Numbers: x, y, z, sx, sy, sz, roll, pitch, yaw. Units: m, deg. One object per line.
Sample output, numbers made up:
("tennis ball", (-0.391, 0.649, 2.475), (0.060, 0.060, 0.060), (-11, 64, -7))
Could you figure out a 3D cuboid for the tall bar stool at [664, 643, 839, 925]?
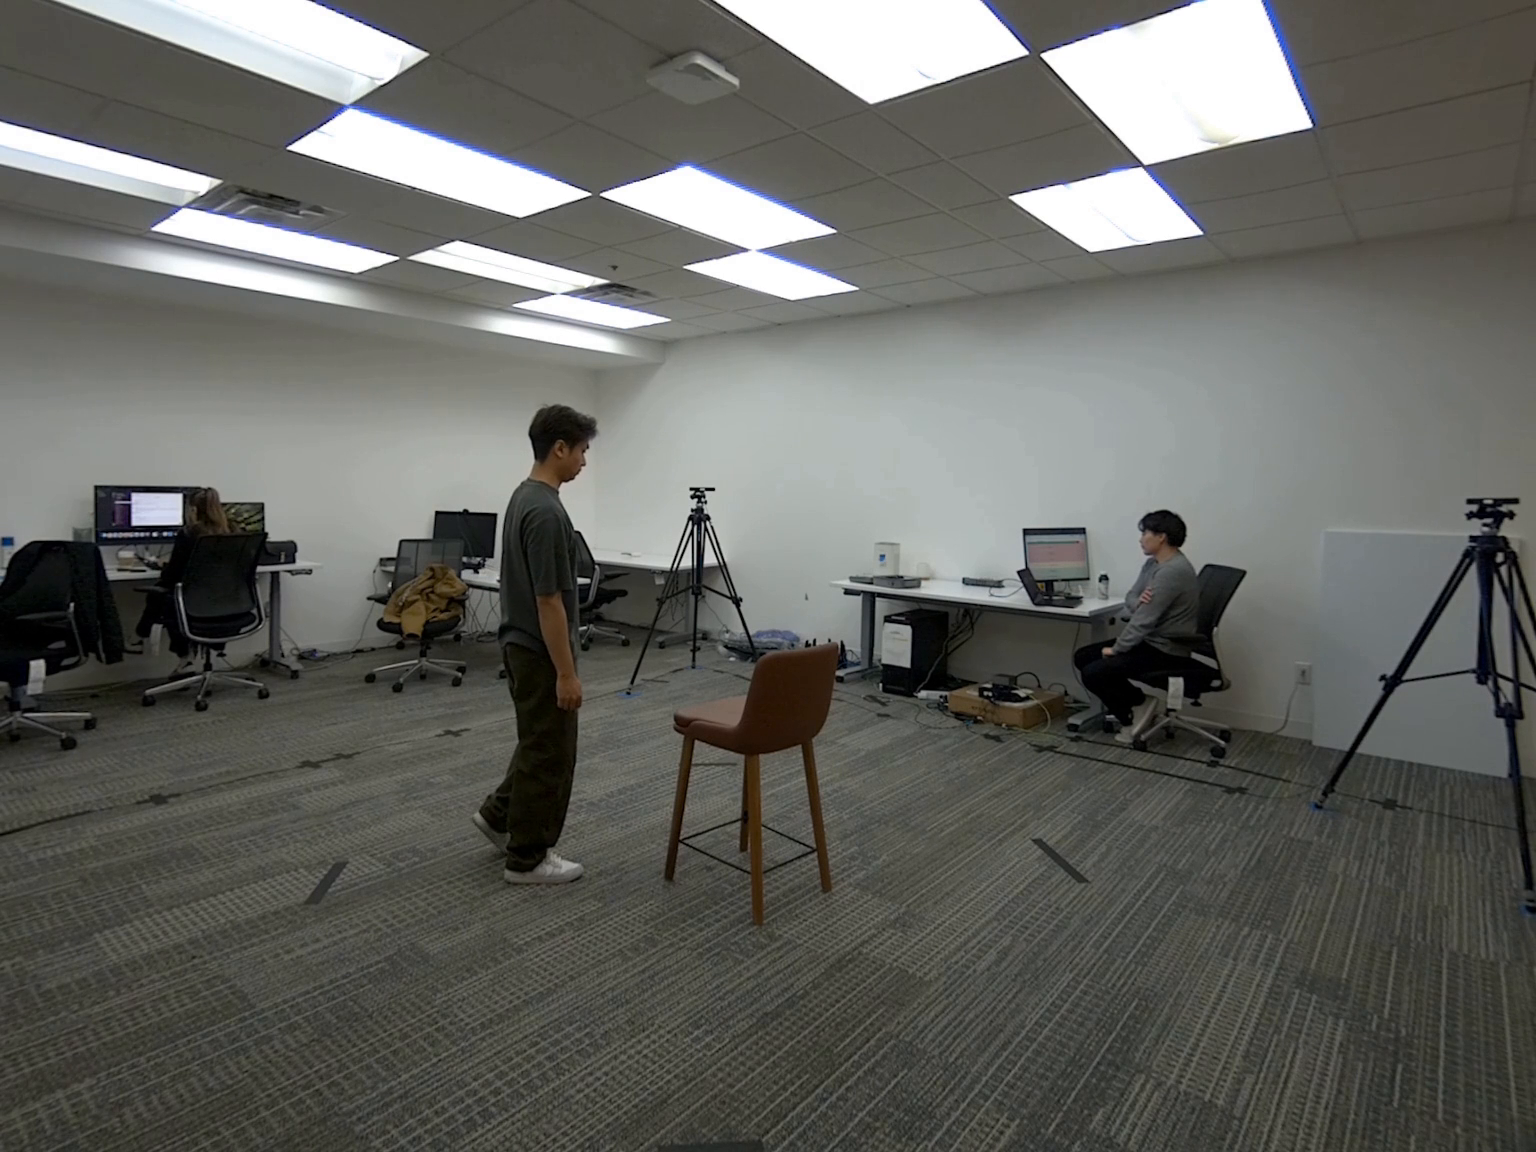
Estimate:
("tall bar stool", (-0.060, 0.650, 2.961), (0.484, 0.886, 0.442), (7, 6, 44))
